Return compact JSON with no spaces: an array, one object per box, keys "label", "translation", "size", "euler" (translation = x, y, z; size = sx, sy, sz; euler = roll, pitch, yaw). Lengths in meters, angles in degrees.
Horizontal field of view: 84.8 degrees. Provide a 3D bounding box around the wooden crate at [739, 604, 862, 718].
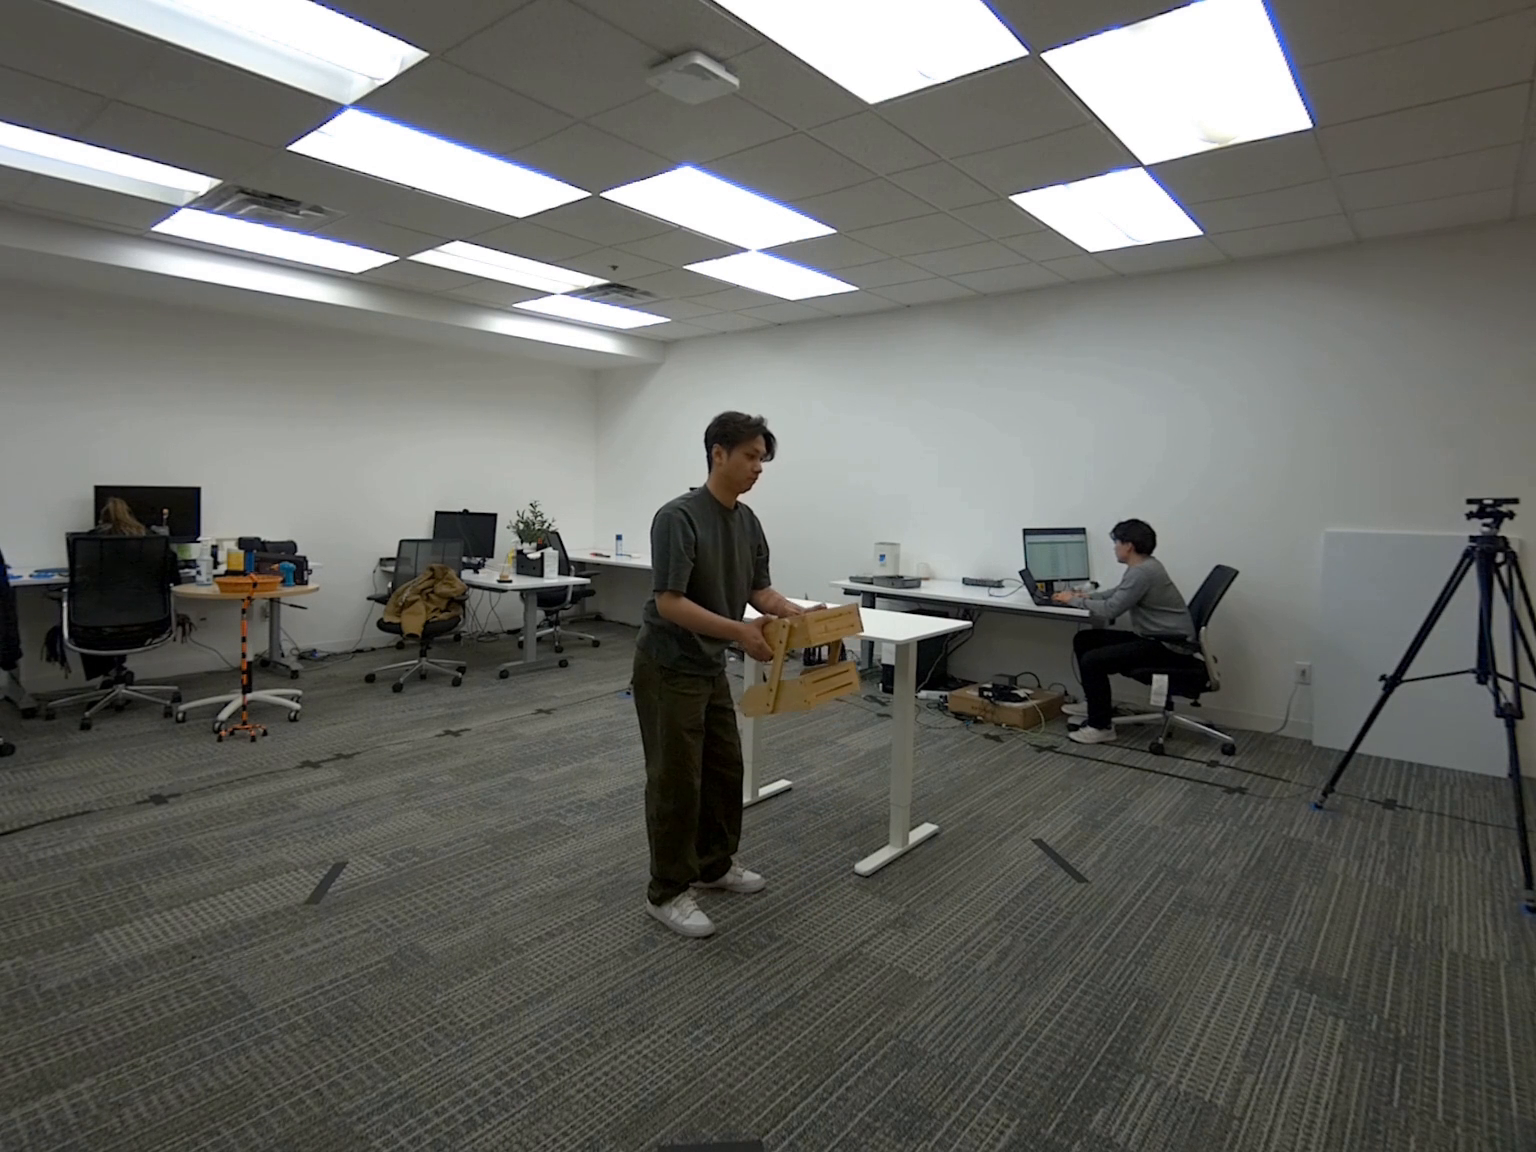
[{"label":"wooden crate","translation":[0.093,0.242,2.544],"size":[0.309,0.275,0.315],"euler":[-14,-4,38]}]
